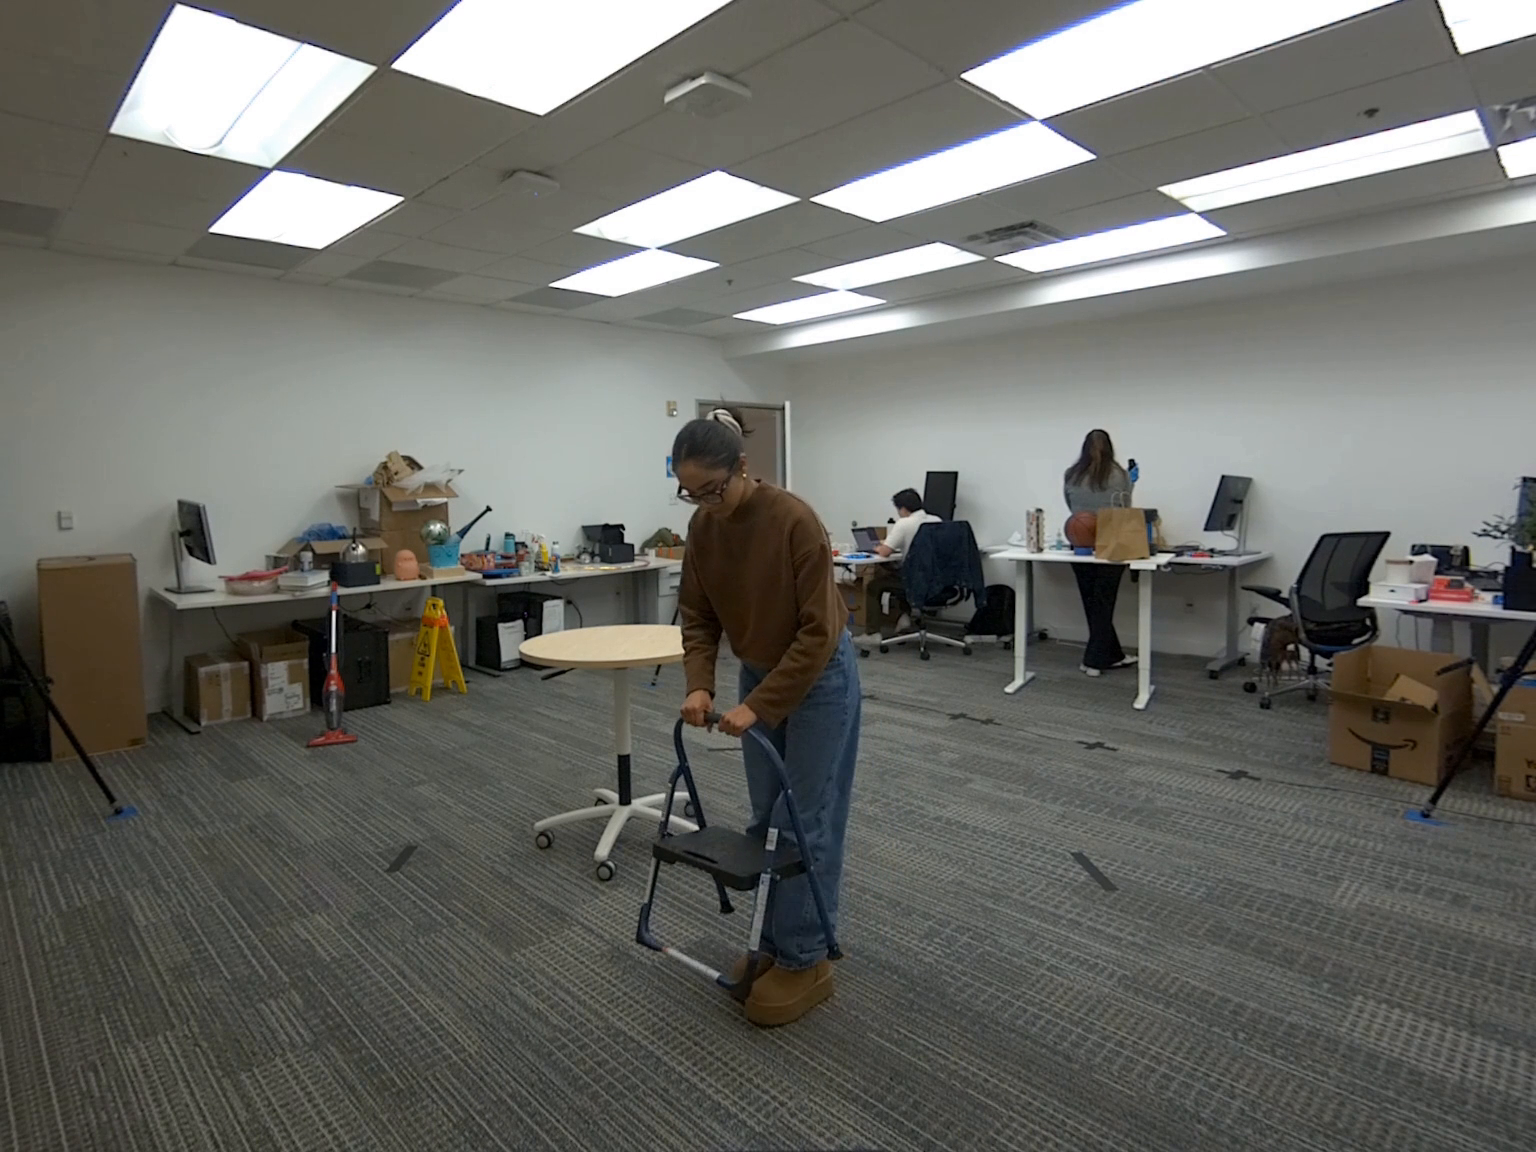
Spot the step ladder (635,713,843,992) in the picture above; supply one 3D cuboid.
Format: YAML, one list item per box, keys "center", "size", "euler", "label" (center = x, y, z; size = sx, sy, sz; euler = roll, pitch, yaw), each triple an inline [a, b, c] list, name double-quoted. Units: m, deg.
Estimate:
- center: [-0.080, 0.663, 2.196]
  size: [0.443, 0.607, 0.339]
  euler: [-2, -3, 45]
  label: "step ladder"
